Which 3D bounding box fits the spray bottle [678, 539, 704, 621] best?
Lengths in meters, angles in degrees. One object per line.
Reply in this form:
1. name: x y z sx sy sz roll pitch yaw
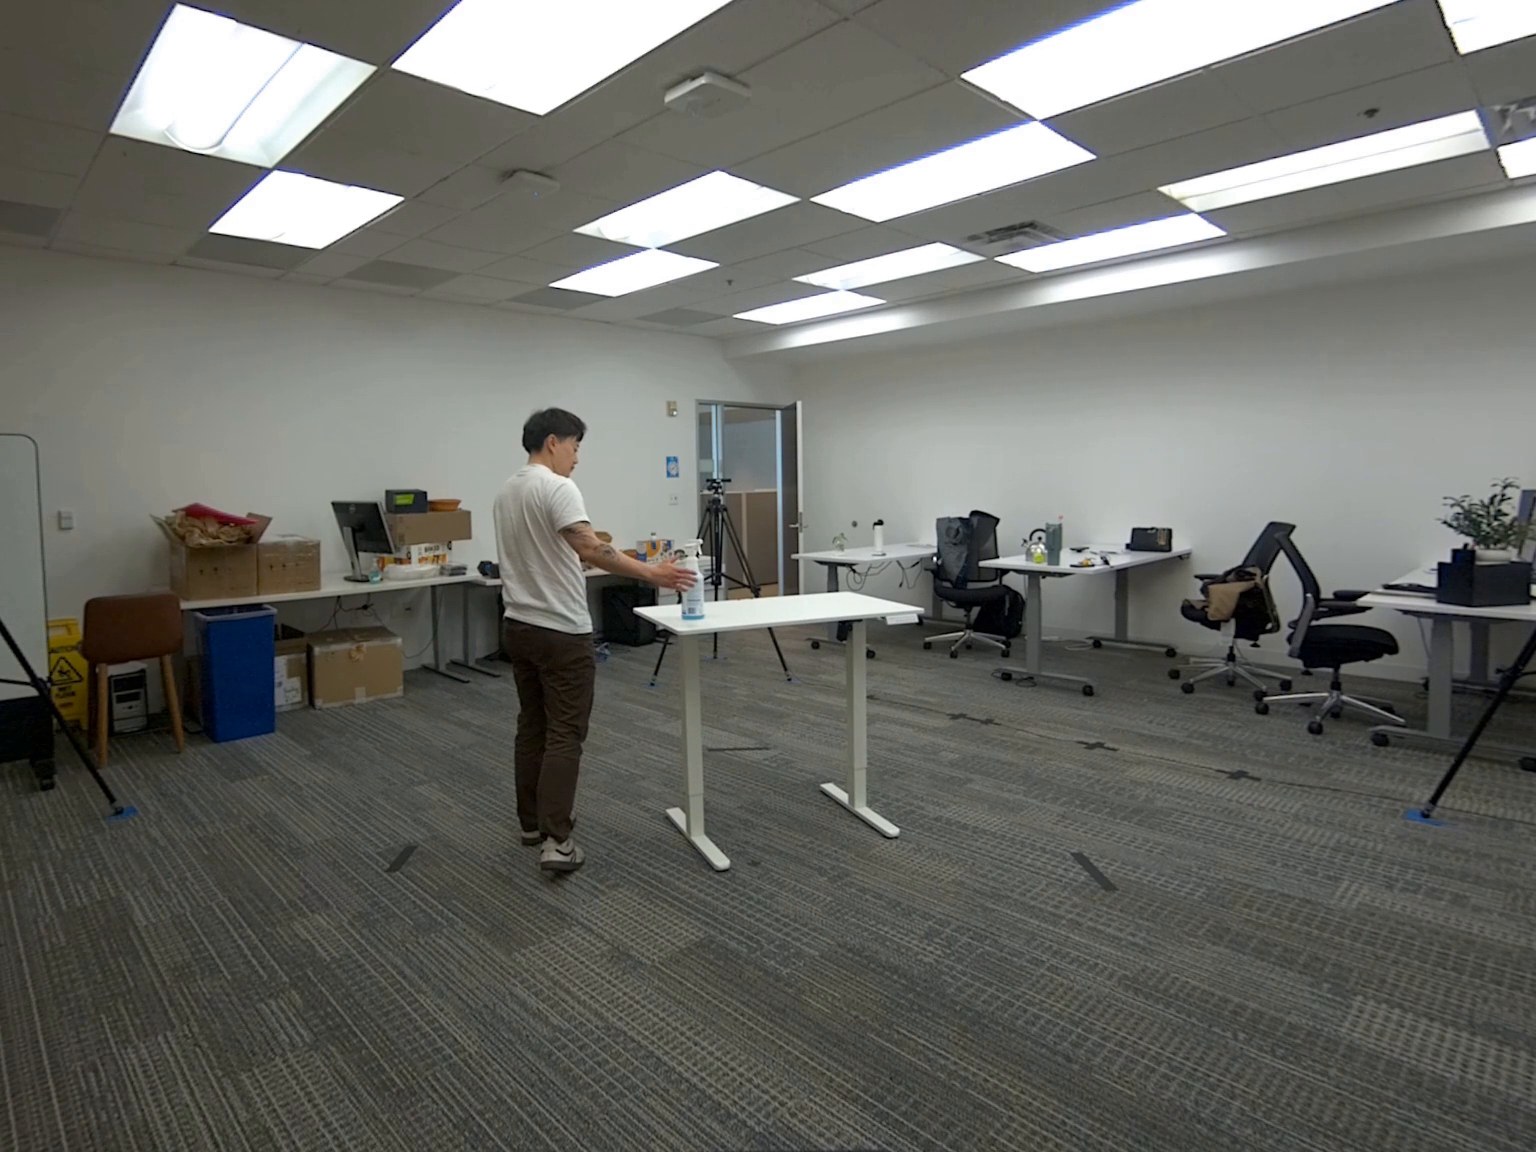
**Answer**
1. spray bottle: -0.281 0.012 3.177 0.085 0.297 0.092 -1 3 -22
